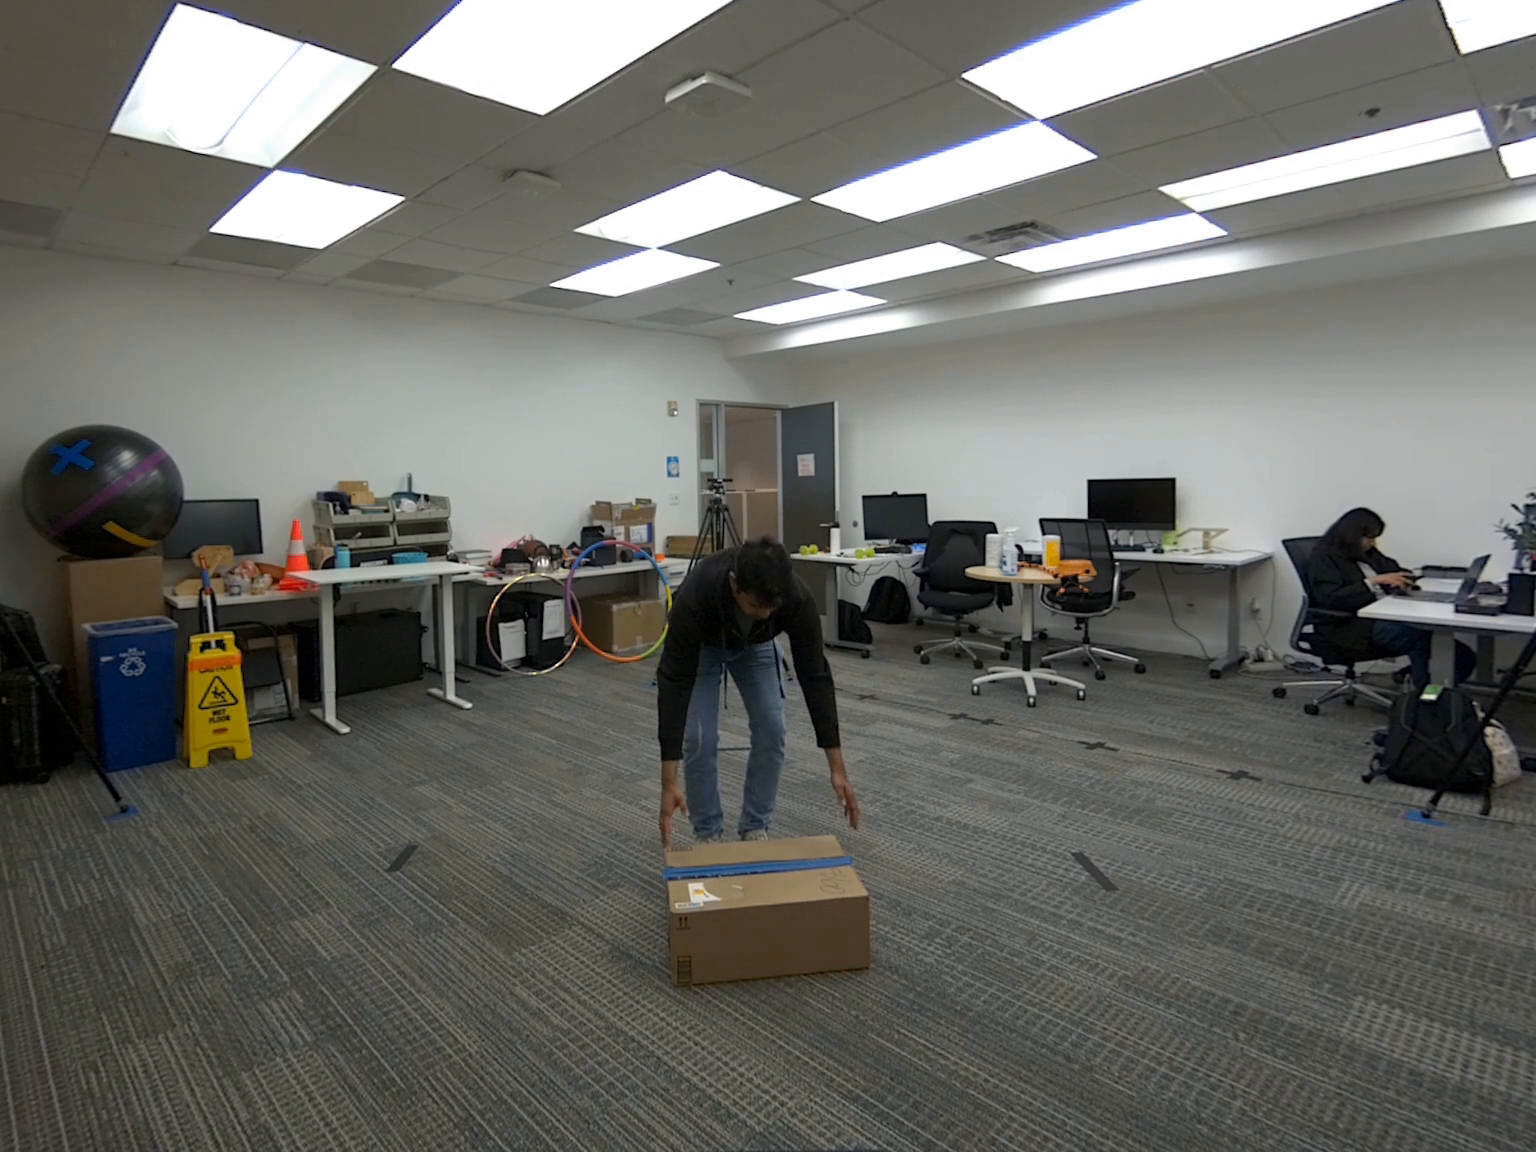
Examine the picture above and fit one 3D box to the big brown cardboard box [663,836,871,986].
[{"bbox_3d":[-0.024,0.993,2.589,0.584,0.232,0.423,-1,6,-8],"label":"big brown cardboard box"}]
